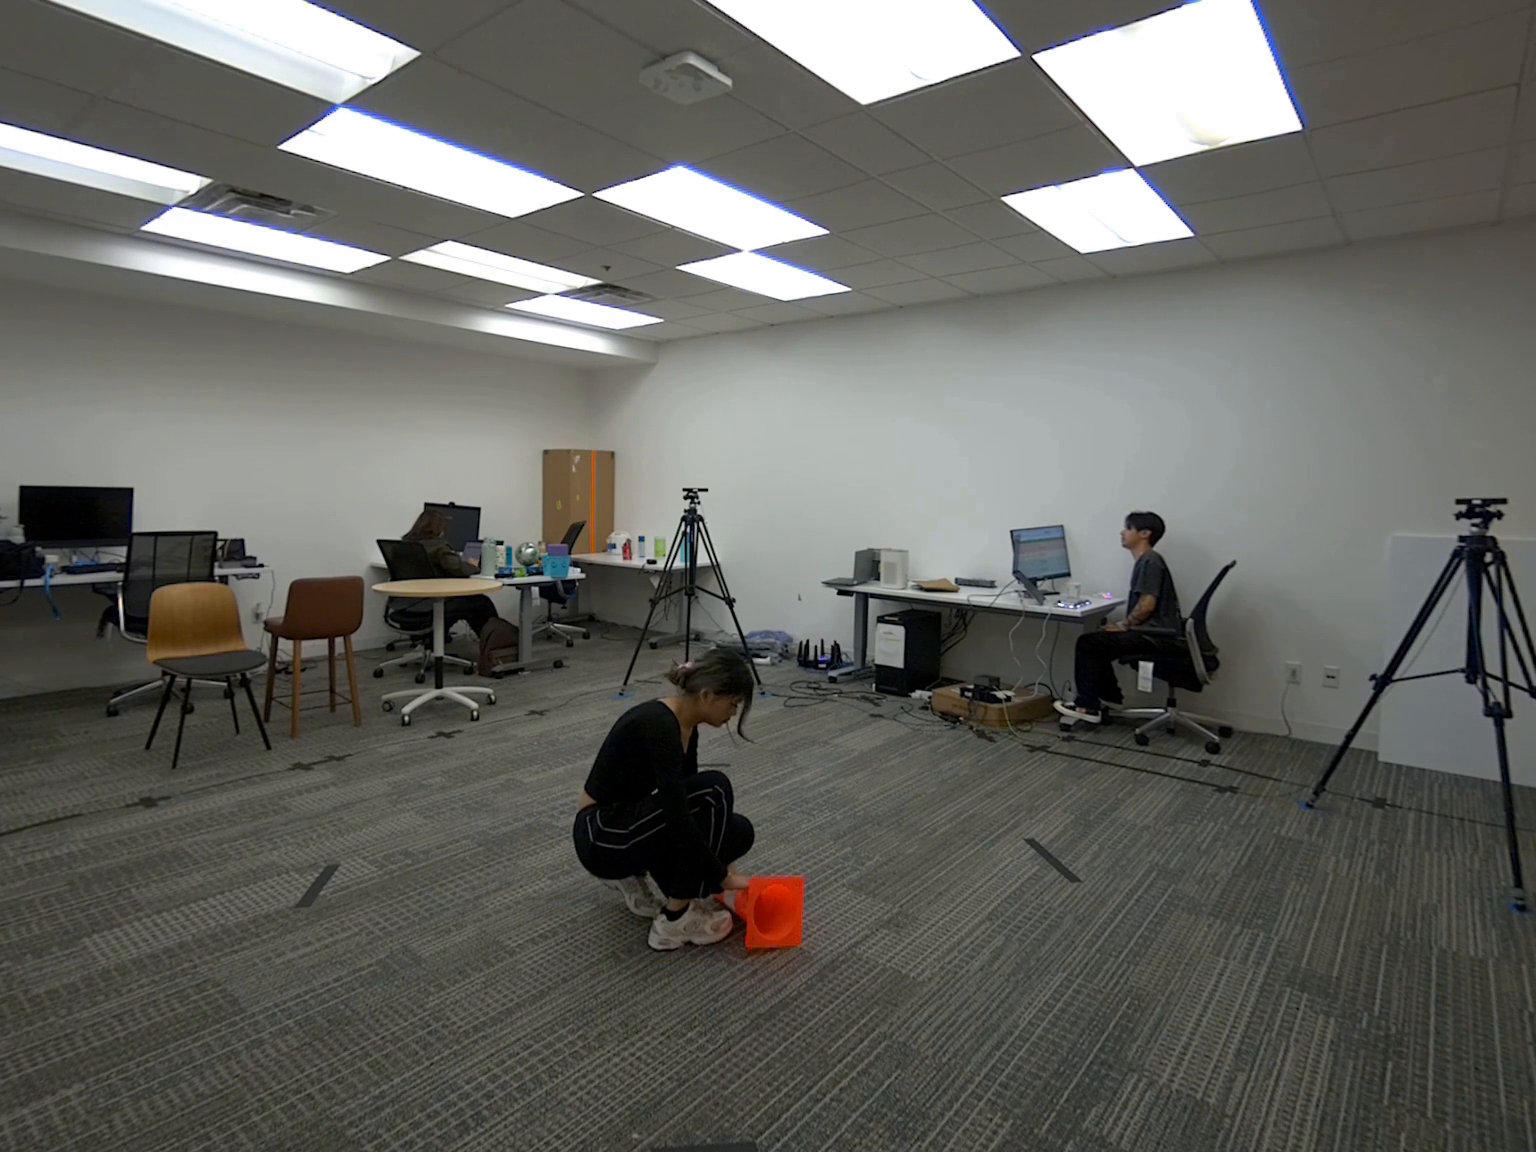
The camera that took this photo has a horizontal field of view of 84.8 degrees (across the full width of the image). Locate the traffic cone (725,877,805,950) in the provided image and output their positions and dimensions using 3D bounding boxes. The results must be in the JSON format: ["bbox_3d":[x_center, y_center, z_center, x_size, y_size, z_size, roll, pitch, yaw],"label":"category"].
[{"bbox_3d":[-0.084,1.053,2.741,0.197,0.207,0.390,9,-14,-29],"label":"traffic cone"}]
